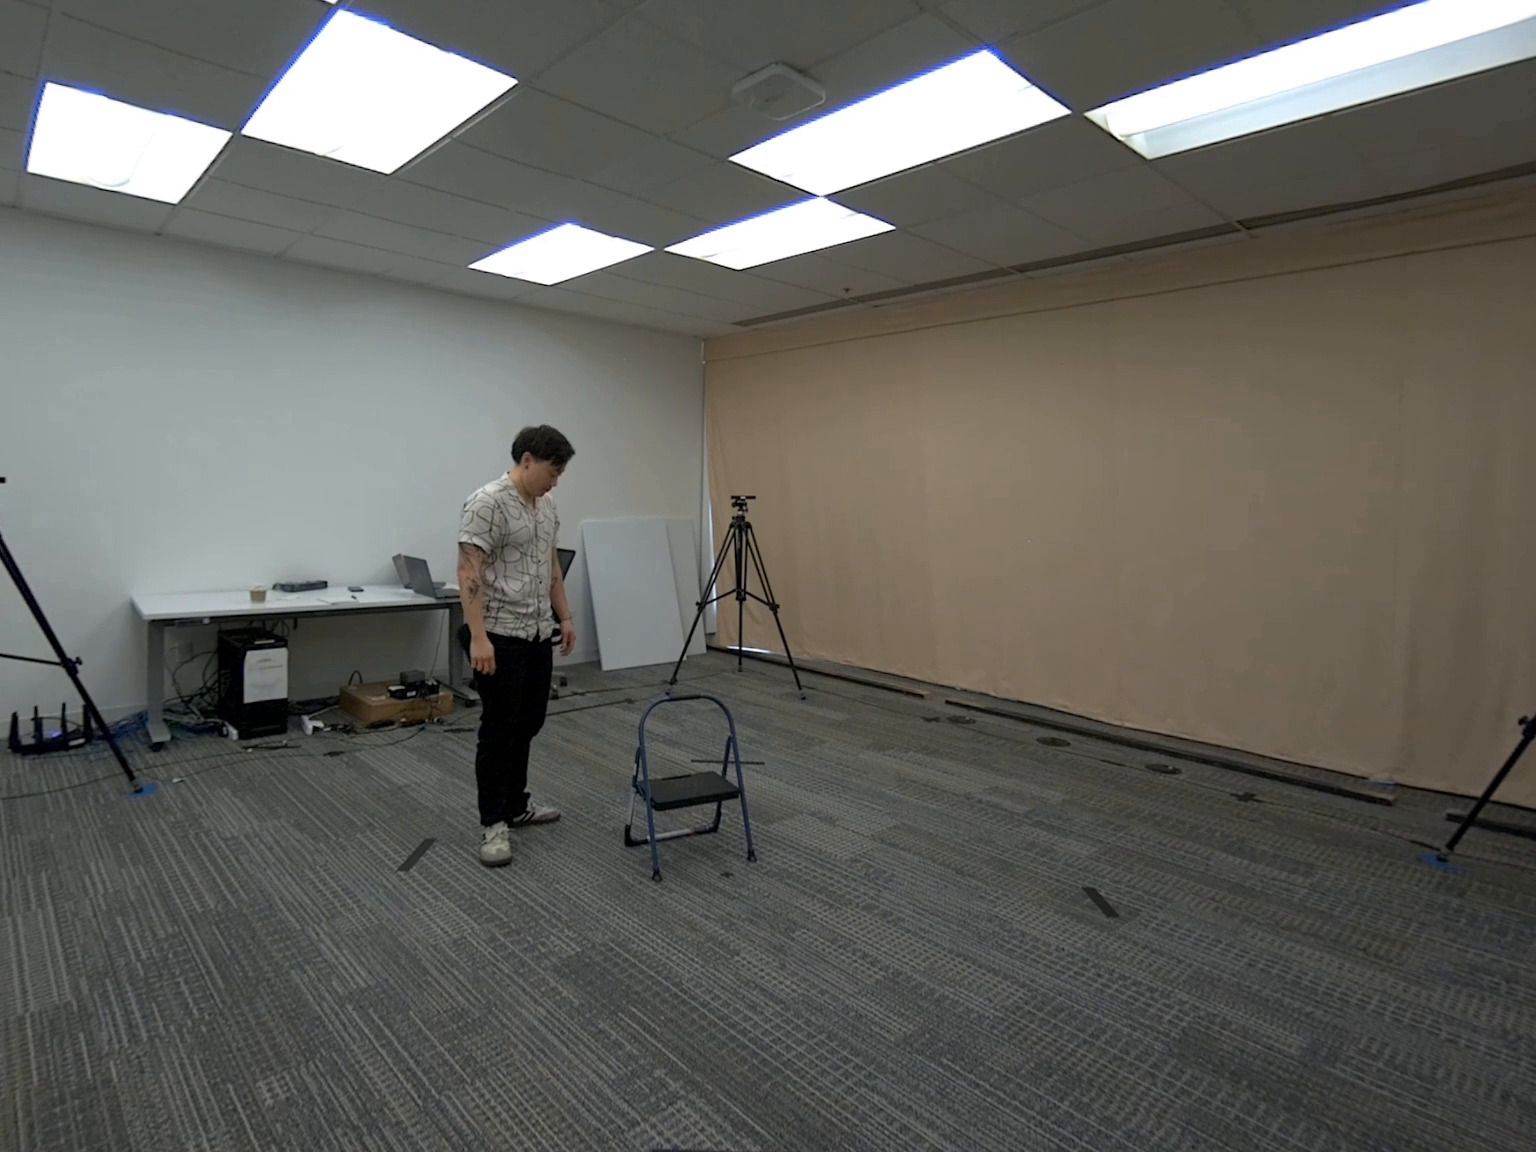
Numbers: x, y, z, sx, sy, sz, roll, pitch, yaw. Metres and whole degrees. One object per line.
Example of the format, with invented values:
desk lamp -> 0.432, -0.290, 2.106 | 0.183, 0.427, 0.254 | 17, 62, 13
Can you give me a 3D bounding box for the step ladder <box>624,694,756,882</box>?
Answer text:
step ladder -> -0.312, 0.779, 3.271 | 0.422, 0.605, 0.357 | -2, 4, -30
